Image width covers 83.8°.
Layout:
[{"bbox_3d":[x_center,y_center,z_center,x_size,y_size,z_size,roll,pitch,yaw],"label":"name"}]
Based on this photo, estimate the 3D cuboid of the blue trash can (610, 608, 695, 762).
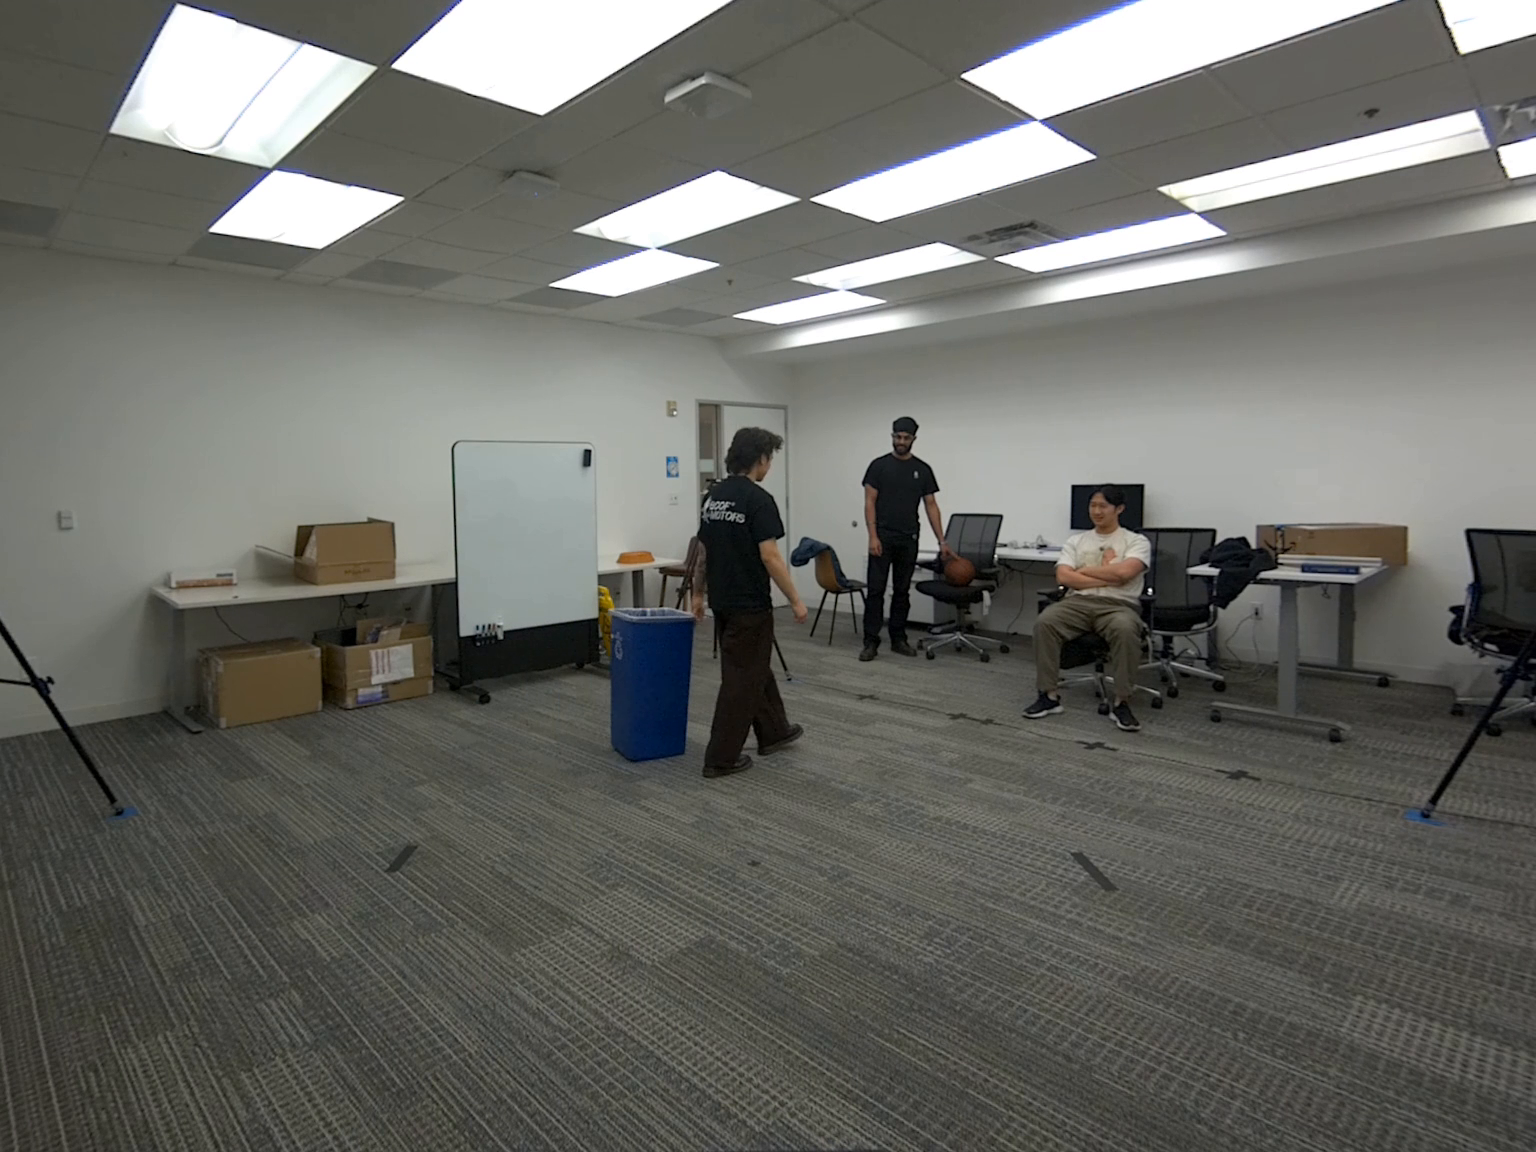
[{"bbox_3d":[-0.611,0.542,4.411,0.368,0.712,0.384,0,3,-31],"label":"blue trash can"}]
